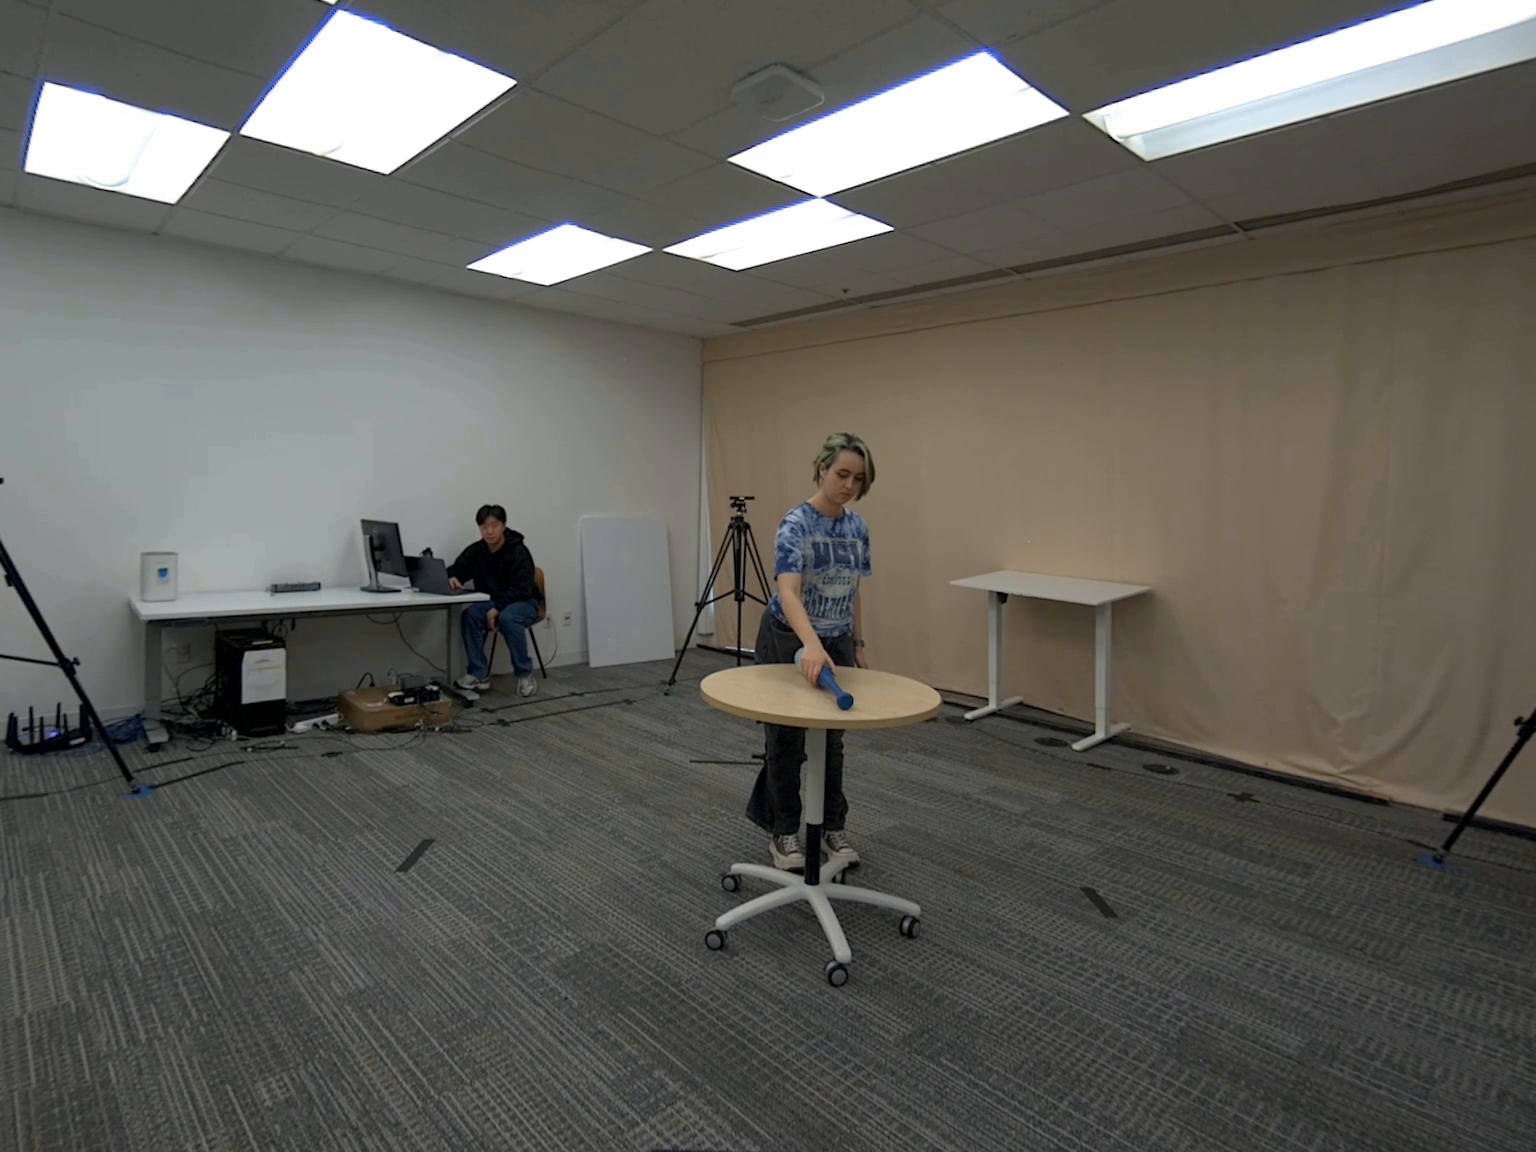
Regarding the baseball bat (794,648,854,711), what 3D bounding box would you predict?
[{"bbox_3d":[0.172,0.330,2.690,0.088,0.088,0.549,1,8,-9],"label":"baseball bat"}]
